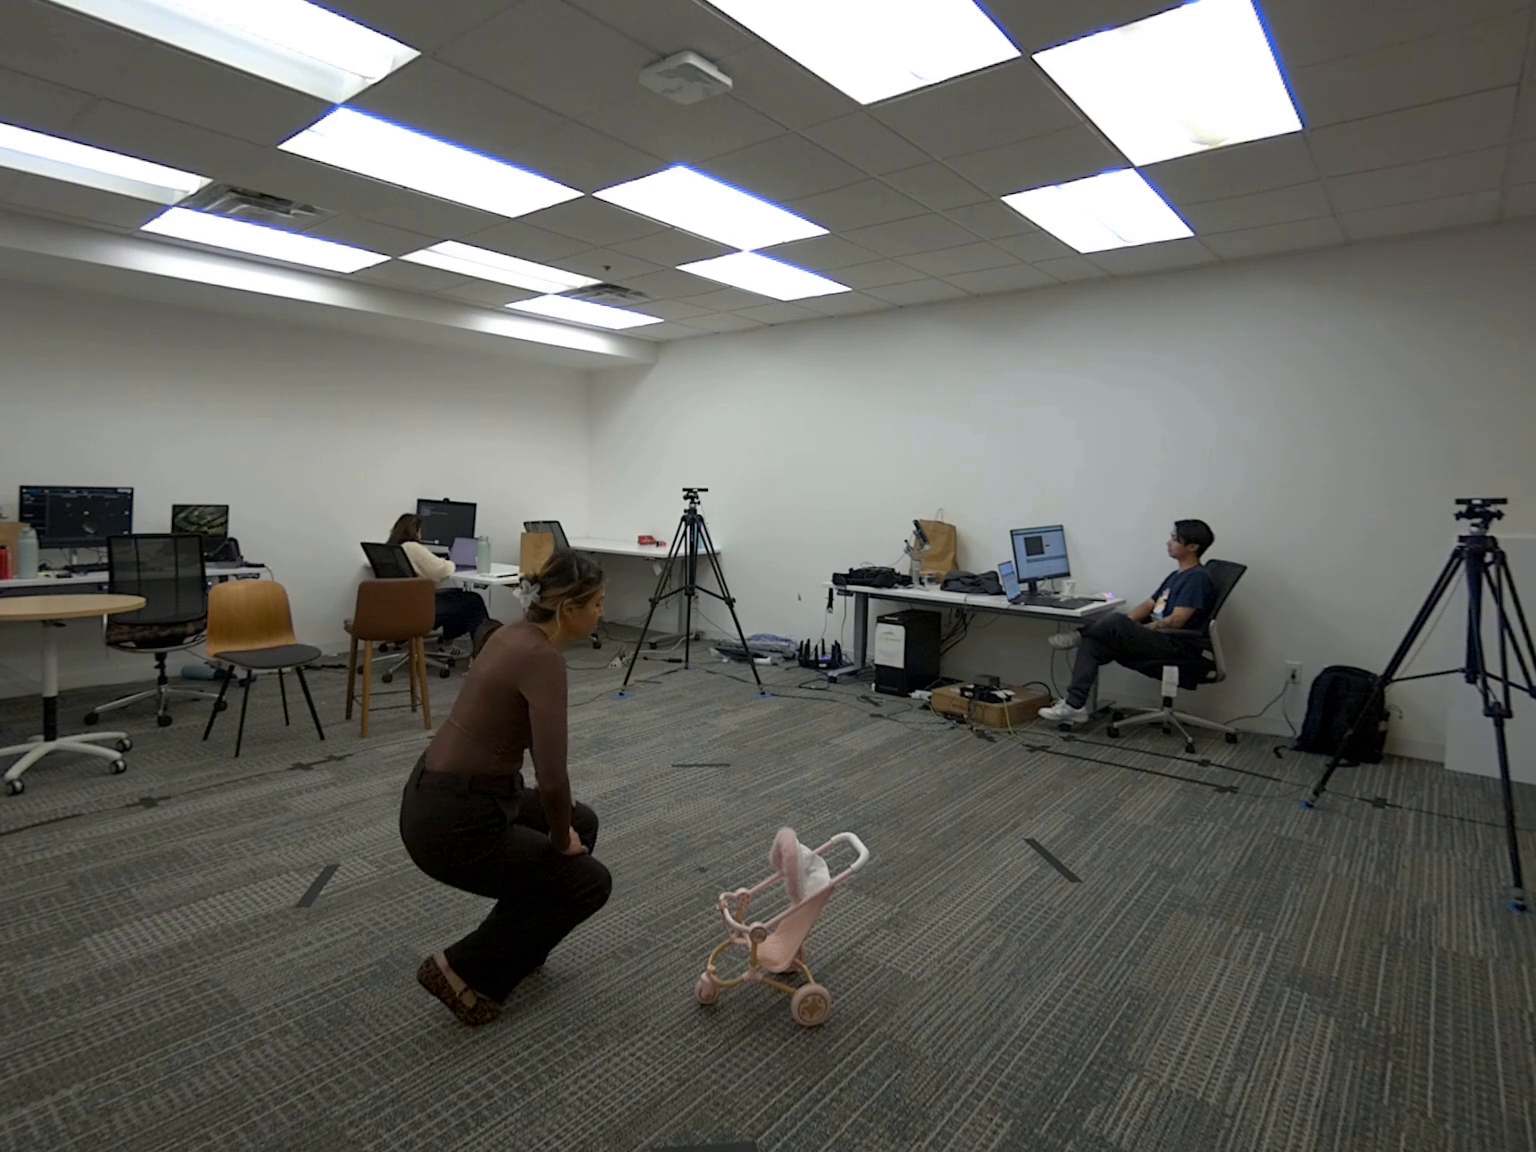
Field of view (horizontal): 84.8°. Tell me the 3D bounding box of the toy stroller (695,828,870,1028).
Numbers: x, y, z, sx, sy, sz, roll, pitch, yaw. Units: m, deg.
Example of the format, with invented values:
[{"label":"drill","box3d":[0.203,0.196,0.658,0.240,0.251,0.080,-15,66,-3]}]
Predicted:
[{"label":"toy stroller","box3d":[0.021,0.934,2.310,0.338,0.534,0.284,18,1,-8]}]
